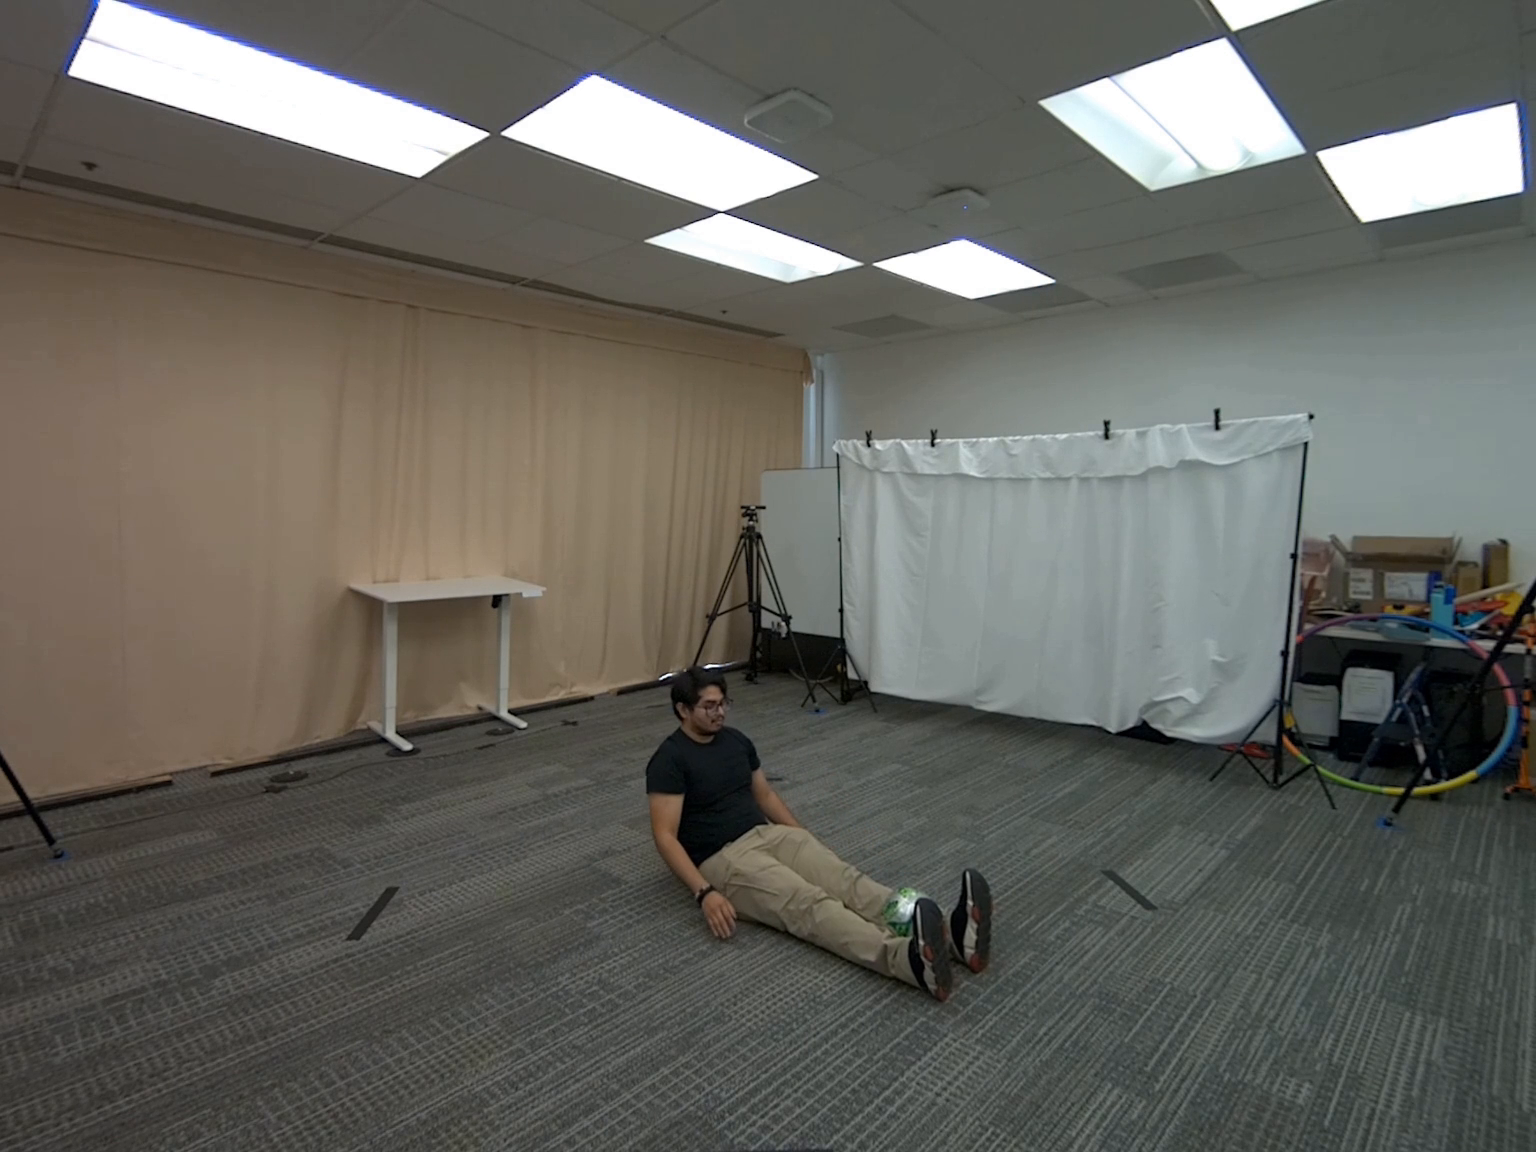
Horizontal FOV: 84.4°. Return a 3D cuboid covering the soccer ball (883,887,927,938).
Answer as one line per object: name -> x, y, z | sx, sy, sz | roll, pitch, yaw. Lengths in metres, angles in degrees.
soccer ball -> 0.443, 1.049, 2.552 | 0.187, 0.187, 0.188 | 0, 4, -2
